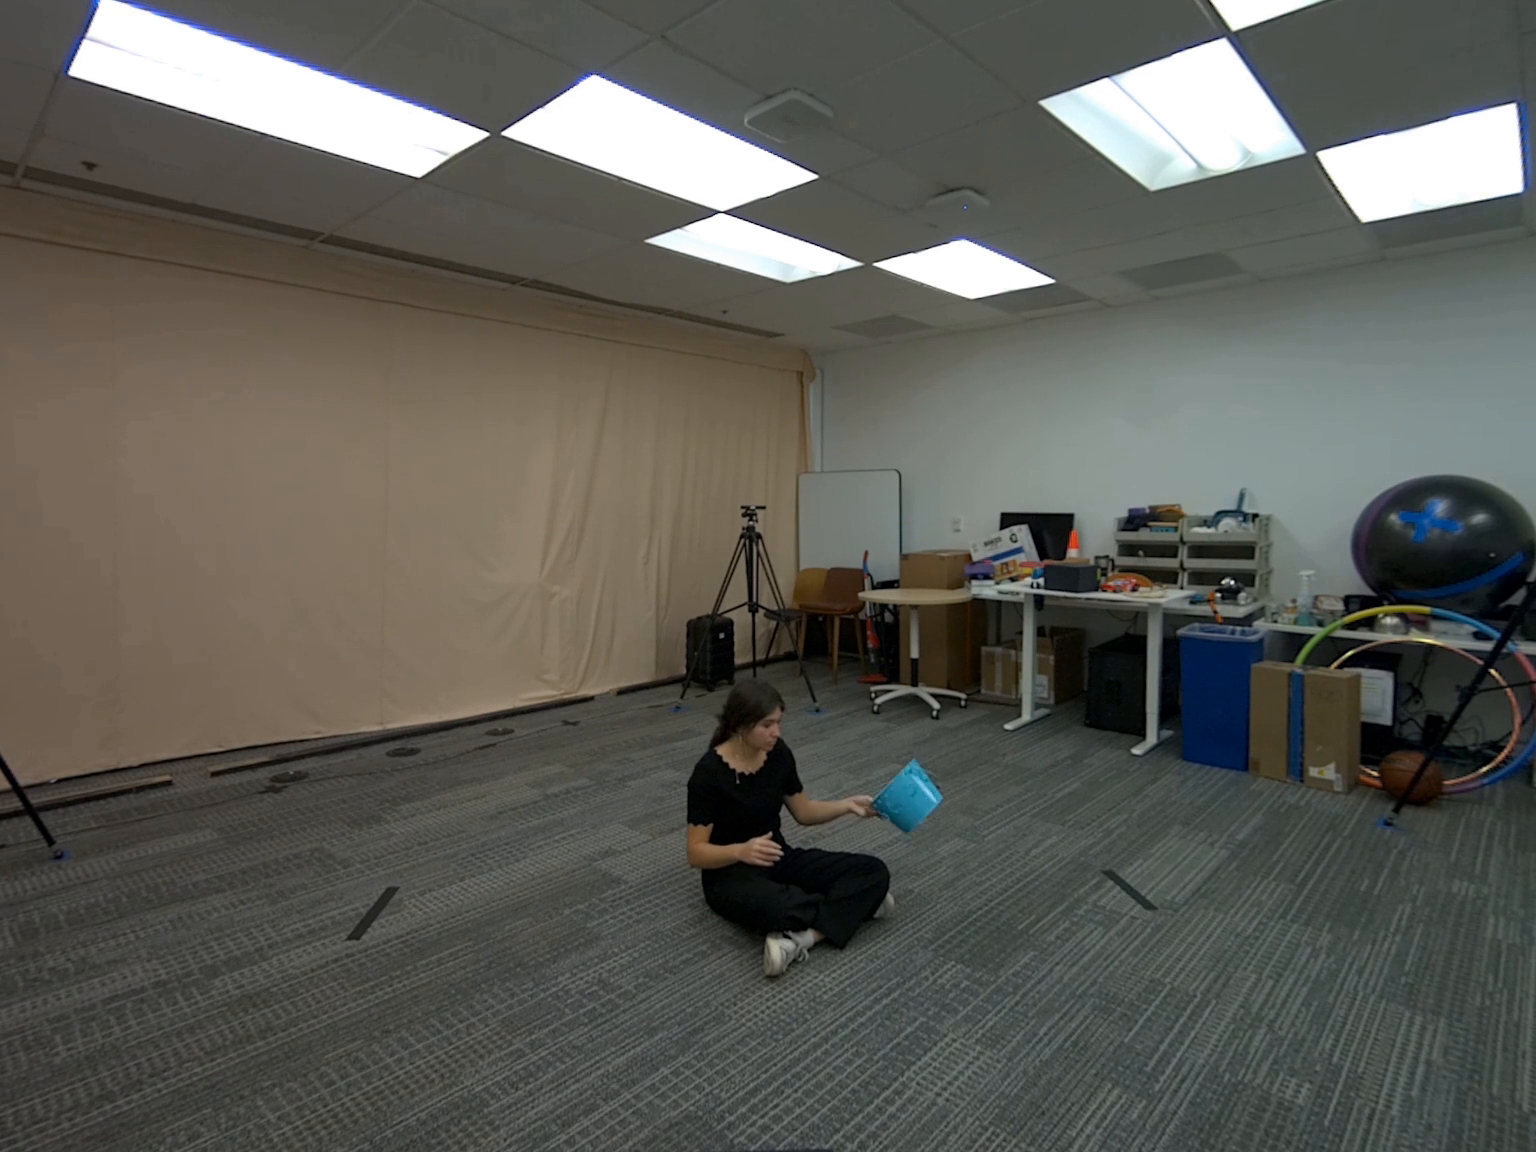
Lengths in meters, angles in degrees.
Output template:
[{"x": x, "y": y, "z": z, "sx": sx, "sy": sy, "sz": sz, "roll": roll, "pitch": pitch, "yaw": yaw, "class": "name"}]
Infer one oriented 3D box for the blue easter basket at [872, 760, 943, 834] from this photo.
[{"x": 0.476, "y": 0.762, "z": 2.867, "sx": 0.159, "sy": 0.244, "sz": 0.238, "roll": 44, "pitch": 20, "yaw": 16, "class": "blue easter basket"}]
